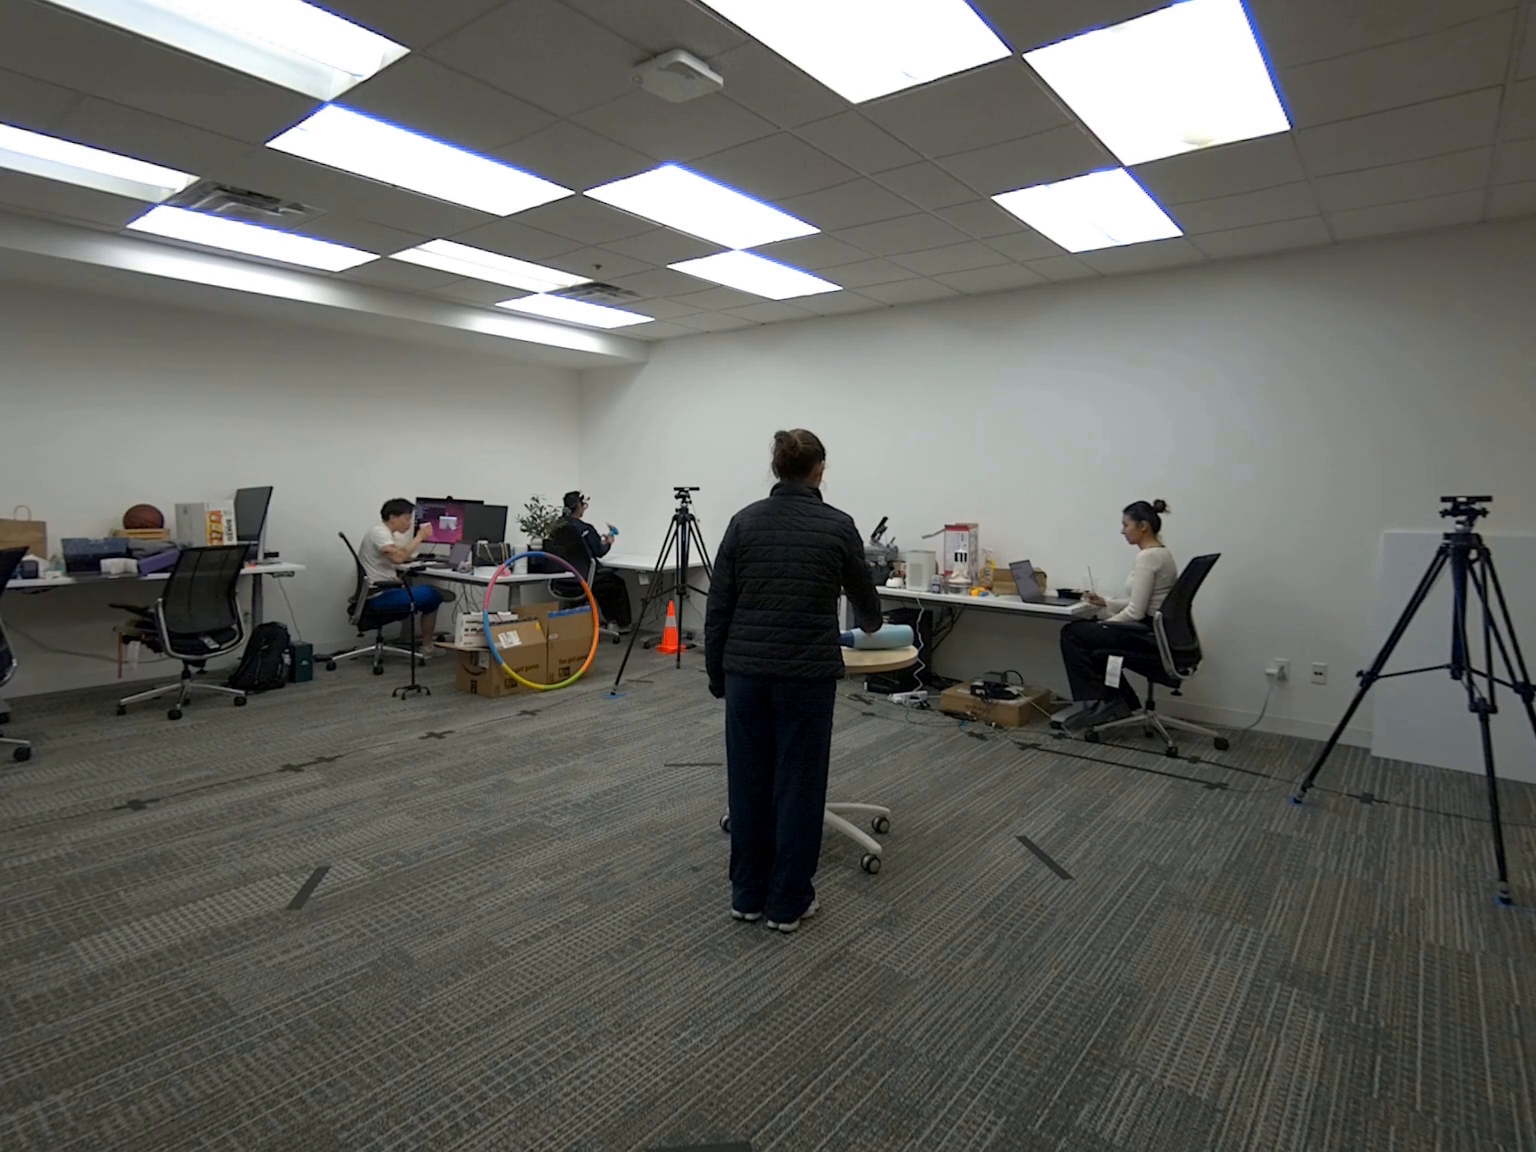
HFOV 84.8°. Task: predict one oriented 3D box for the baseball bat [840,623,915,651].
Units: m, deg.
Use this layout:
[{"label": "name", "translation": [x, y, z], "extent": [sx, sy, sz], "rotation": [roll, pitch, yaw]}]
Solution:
[{"label": "baseball bat", "translation": [0.323, 0.242, 3.261], "extent": [0.535, 0.089, 0.091], "rotation": [-3, 5, -15]}]
